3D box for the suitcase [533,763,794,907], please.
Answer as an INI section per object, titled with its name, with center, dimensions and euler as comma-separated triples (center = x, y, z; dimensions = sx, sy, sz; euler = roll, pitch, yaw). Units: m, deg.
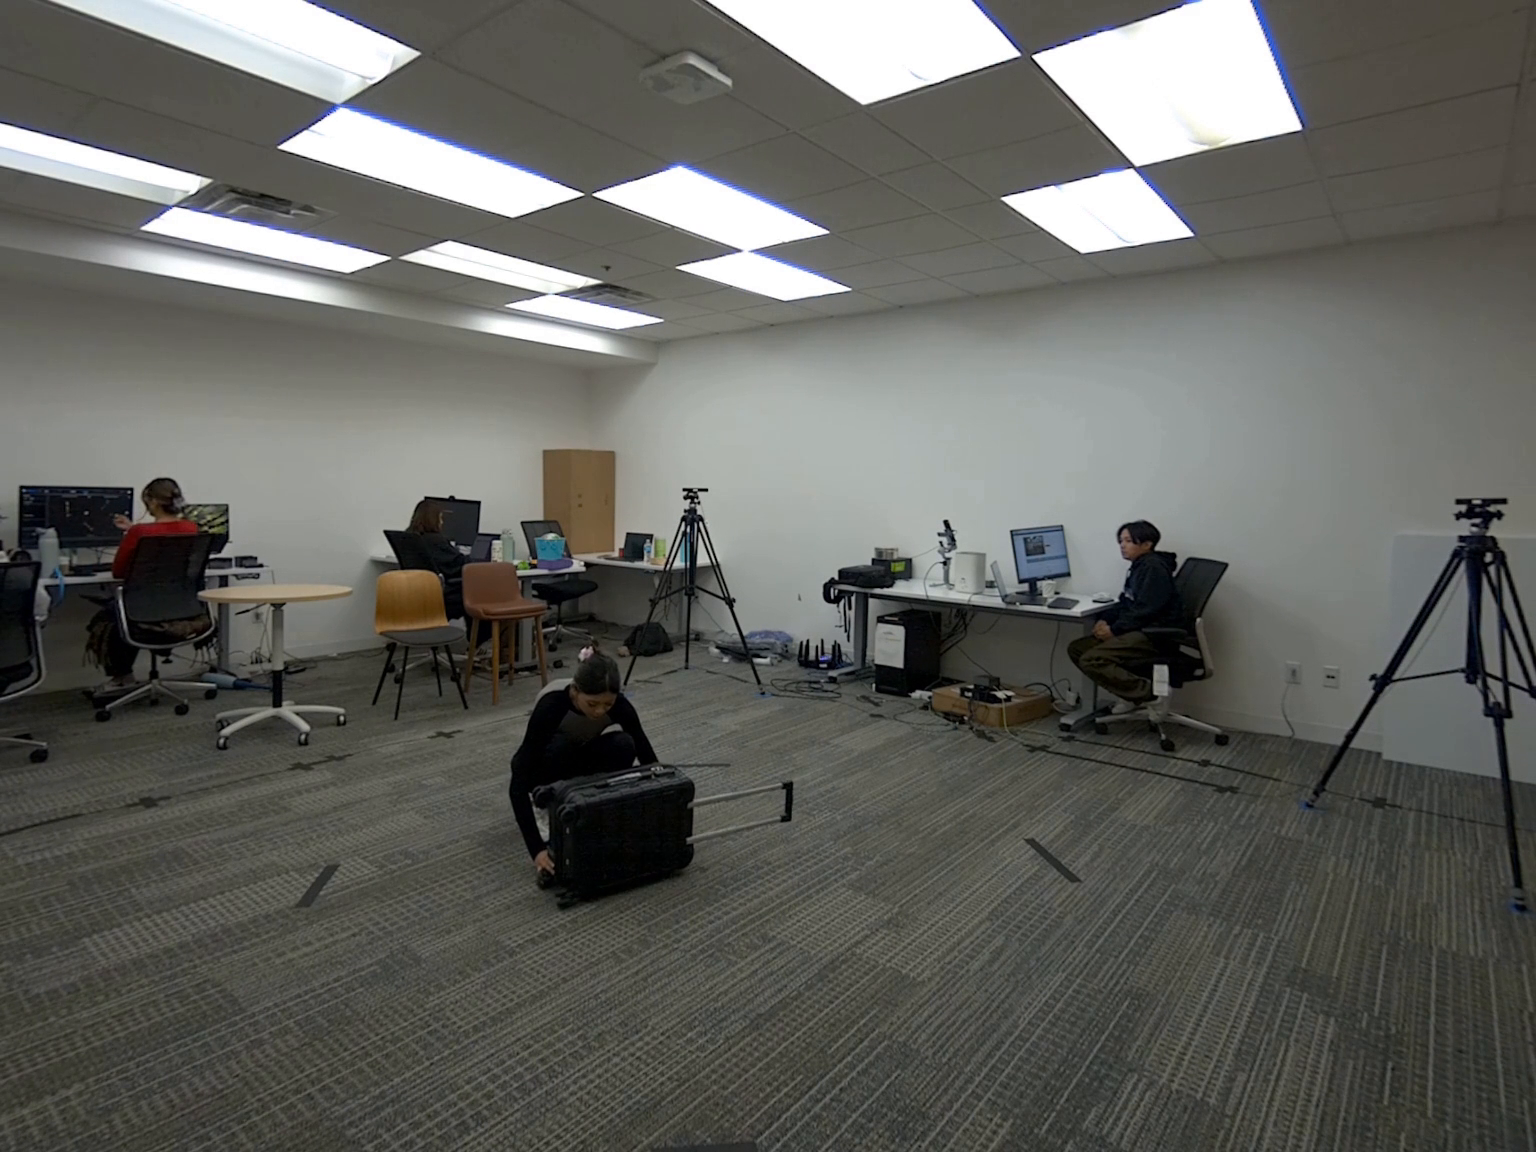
[suitcase]
center = -0.367, 0.875, 3.129
dimensions = 0.950, 0.382, 0.266
euler = -4, 7, -37
